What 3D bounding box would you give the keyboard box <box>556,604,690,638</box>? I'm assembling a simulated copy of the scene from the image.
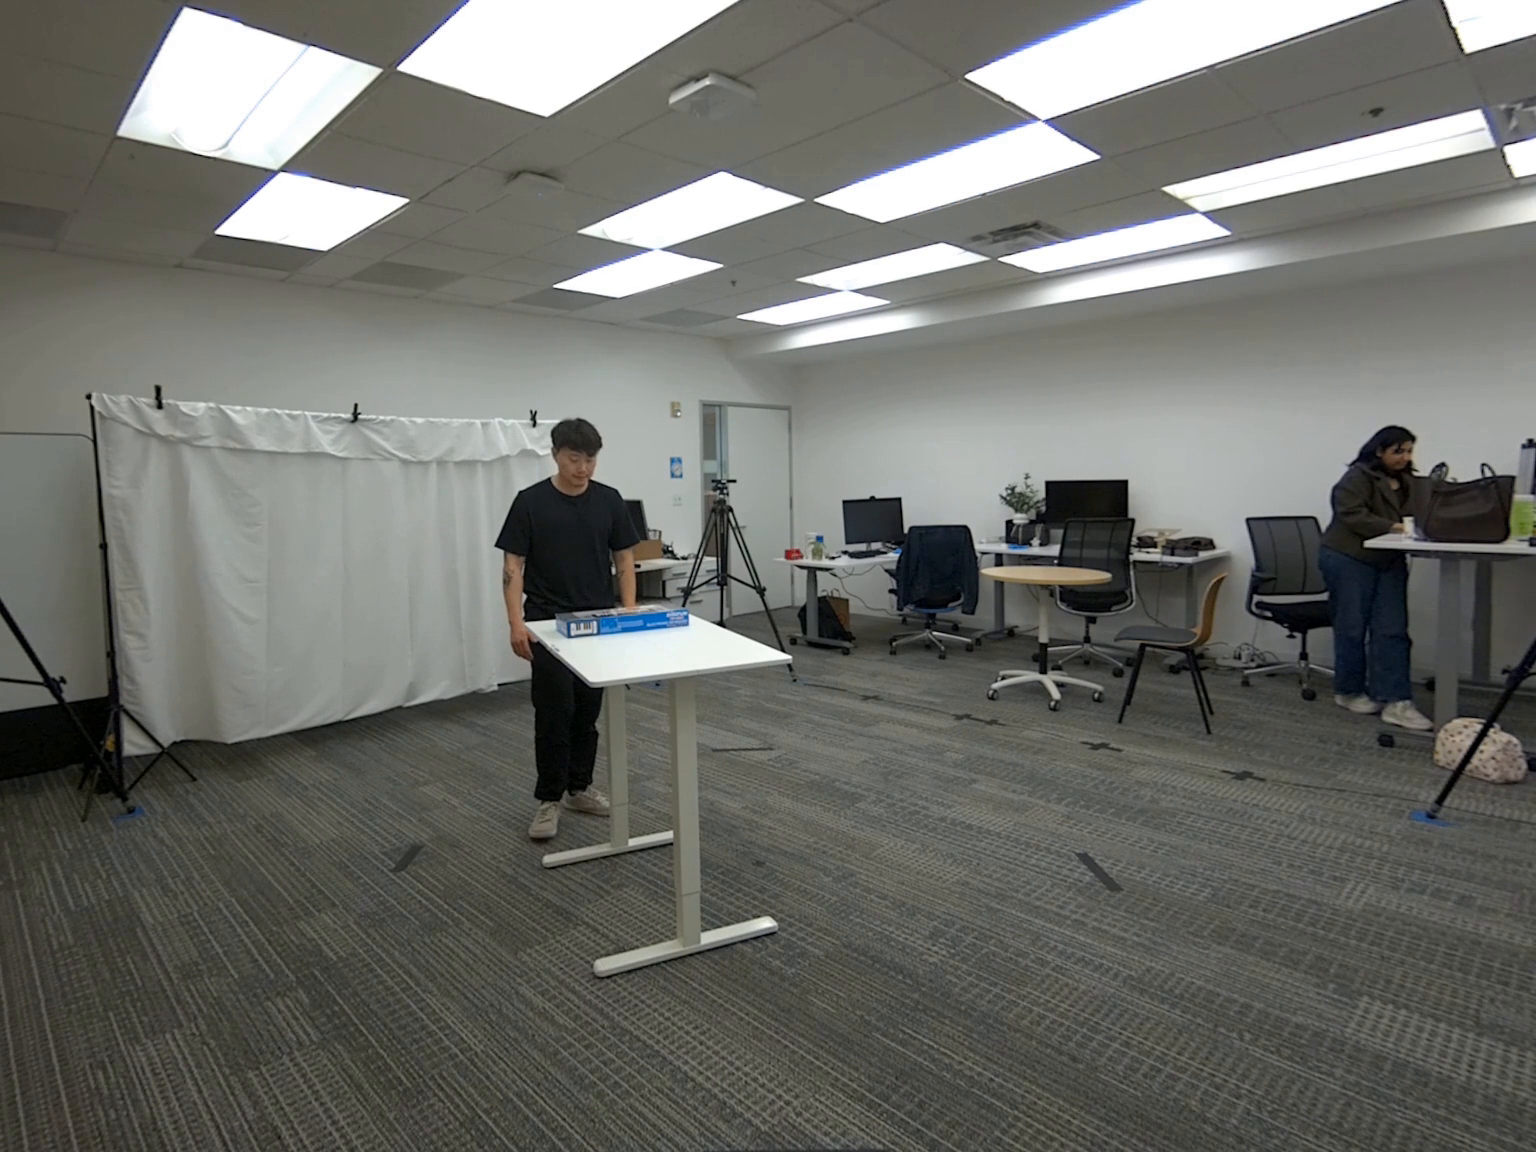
[{"bbox_3d":[-0.516,0.155,3.011,0.428,0.059,0.180,-5,8,-24],"label":"keyboard box"}]
